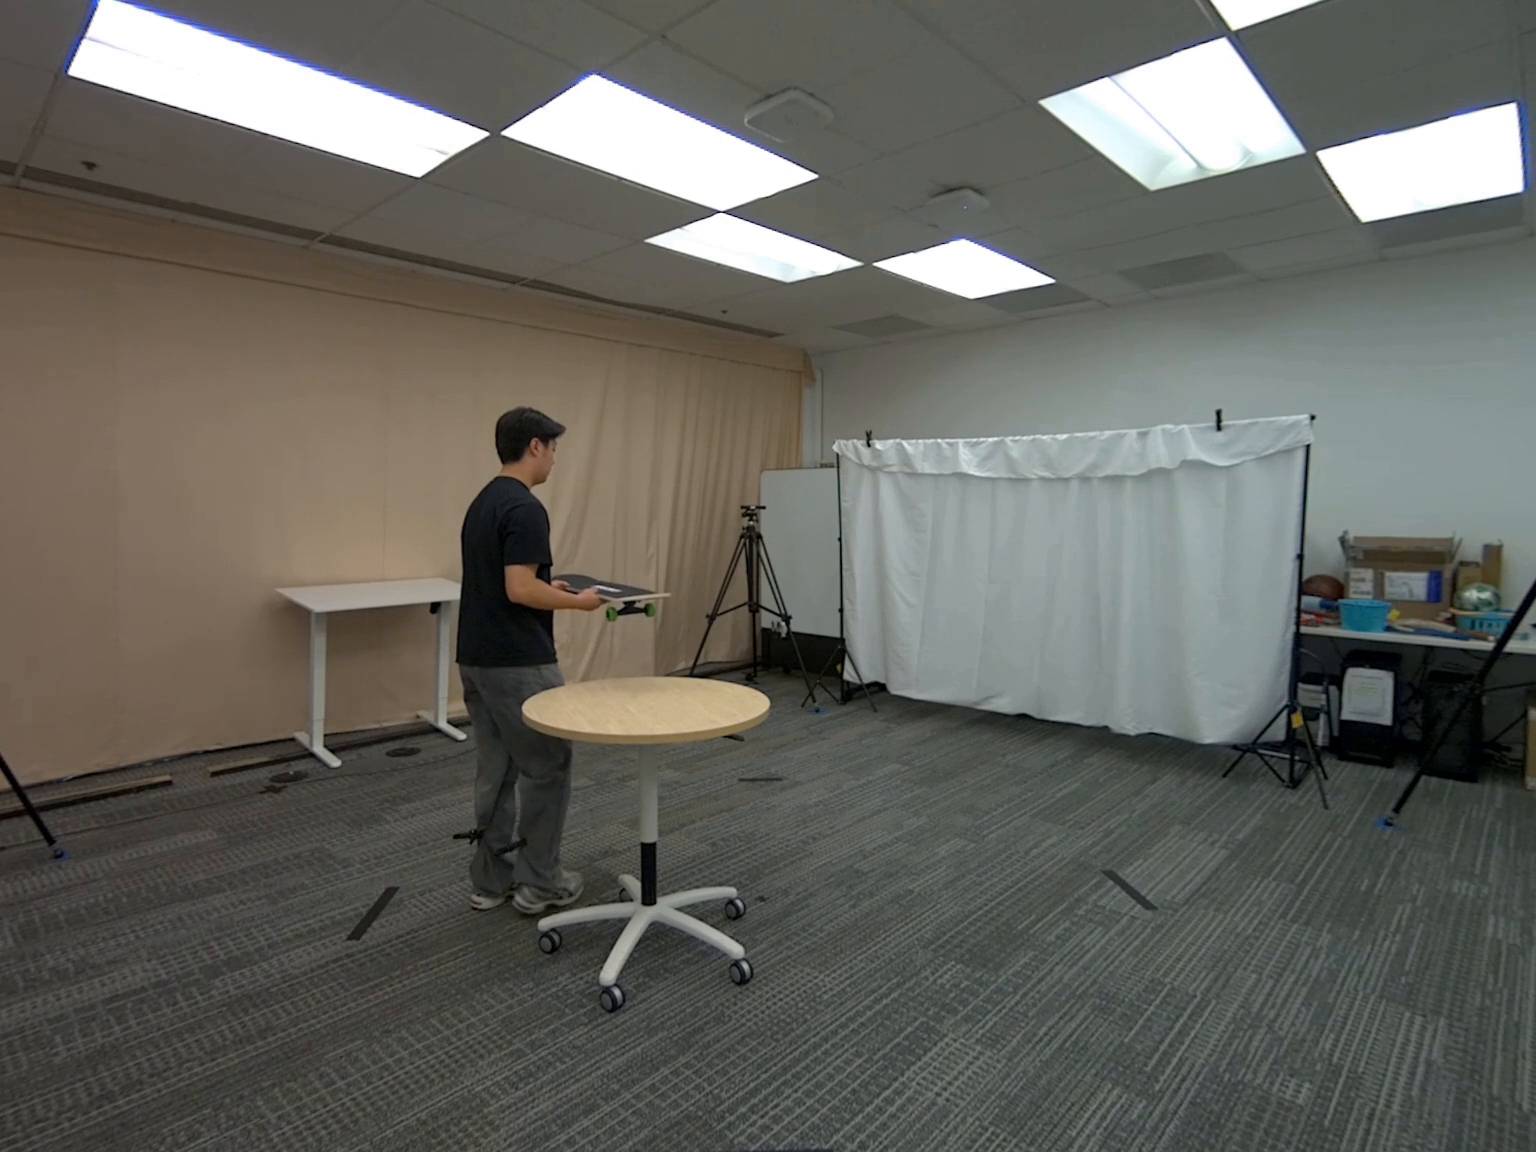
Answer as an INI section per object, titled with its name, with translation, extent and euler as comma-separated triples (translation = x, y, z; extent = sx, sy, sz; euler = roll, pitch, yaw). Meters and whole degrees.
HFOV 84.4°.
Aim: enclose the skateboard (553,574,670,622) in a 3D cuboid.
[skateboard]
translation = -0.593, 0.079, 3.192
extent = 0.188, 0.110, 0.811
euler = -7, 9, -38
